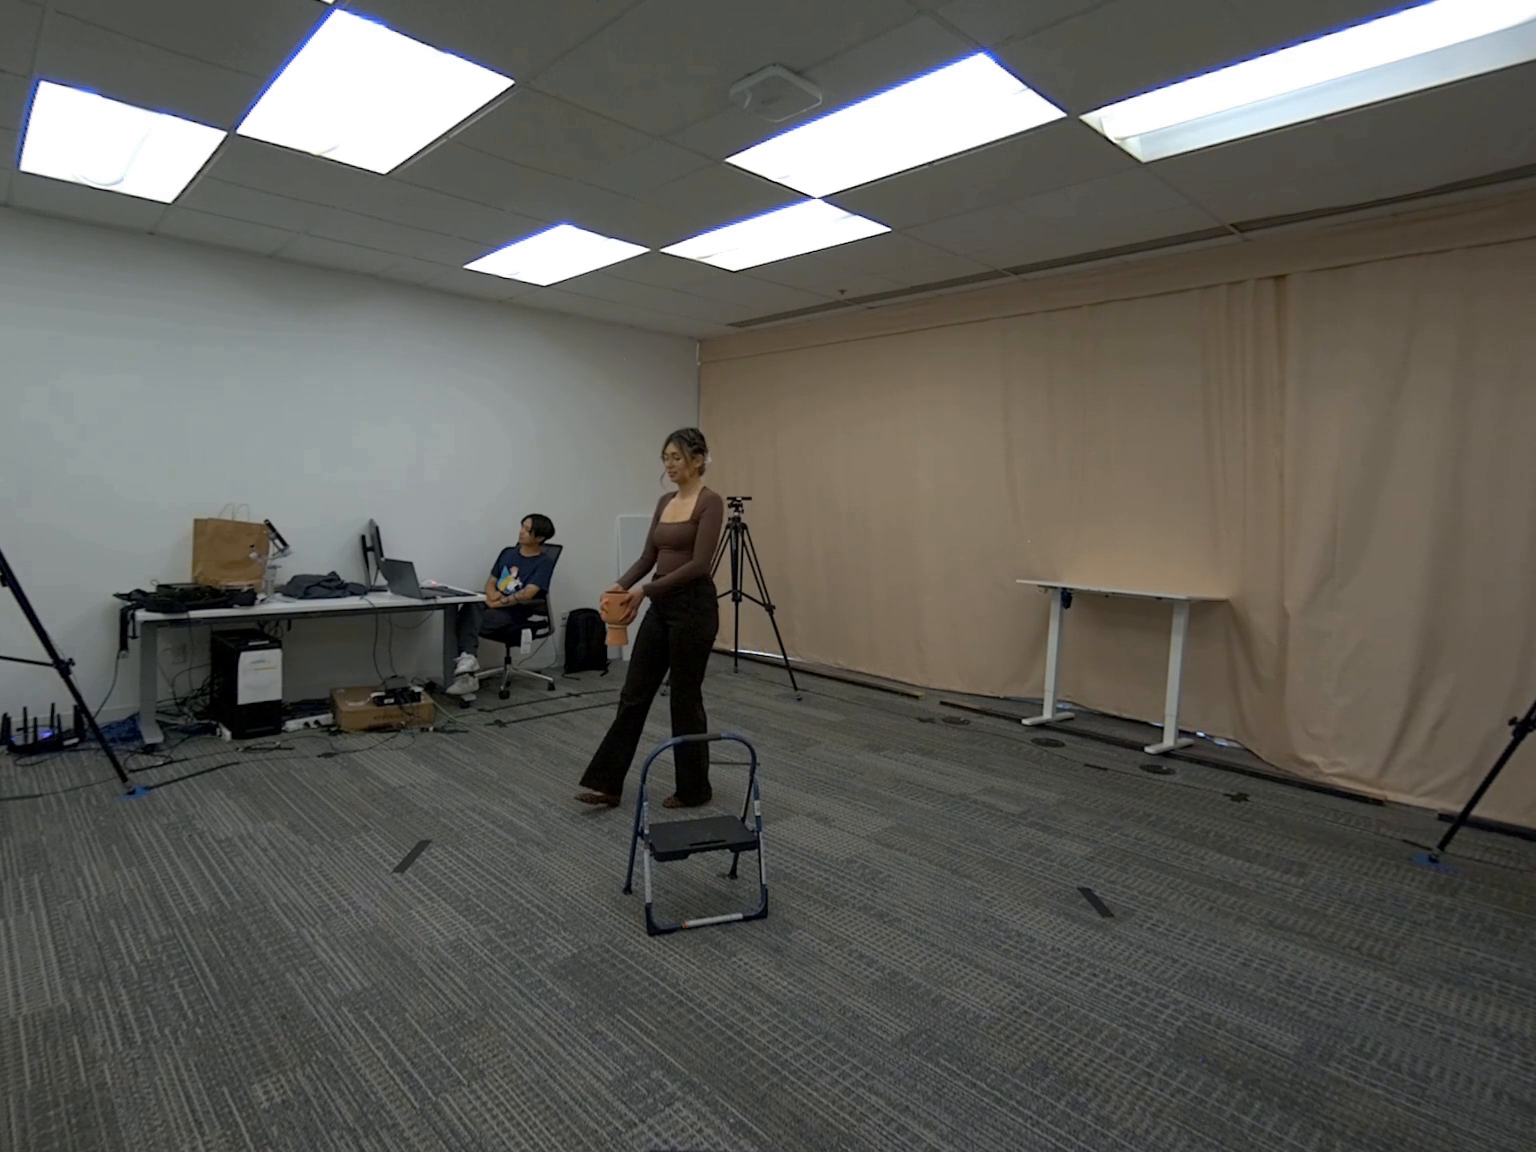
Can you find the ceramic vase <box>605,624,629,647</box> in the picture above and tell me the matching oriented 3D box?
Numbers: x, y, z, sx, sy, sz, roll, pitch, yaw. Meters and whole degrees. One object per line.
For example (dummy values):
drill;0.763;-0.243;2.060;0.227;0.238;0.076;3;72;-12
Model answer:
ceramic vase;-0.647;0.181;3.569;0.157;0.219;0.137;2;4;-16
